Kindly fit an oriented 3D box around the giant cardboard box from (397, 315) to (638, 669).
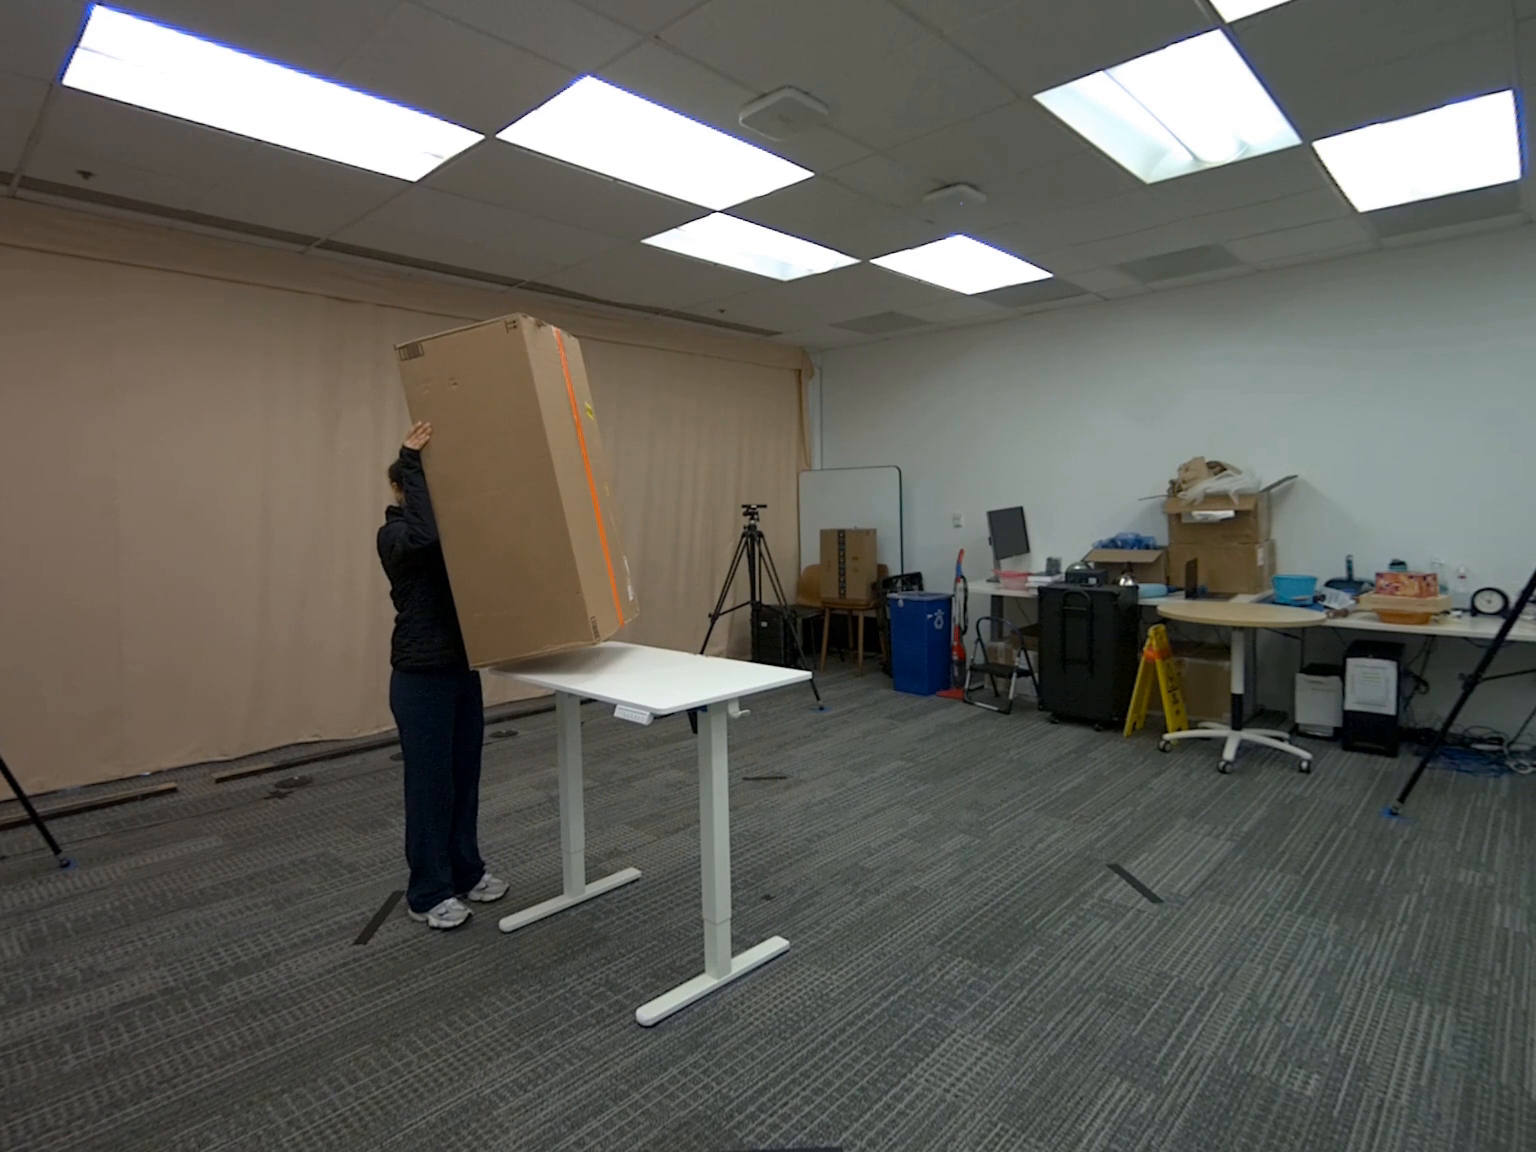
[{"bbox_3d":[-0.793,-0.281,2.829,0.451,1.024,0.580,-11,3,9],"label":"giant cardboard box"}]
